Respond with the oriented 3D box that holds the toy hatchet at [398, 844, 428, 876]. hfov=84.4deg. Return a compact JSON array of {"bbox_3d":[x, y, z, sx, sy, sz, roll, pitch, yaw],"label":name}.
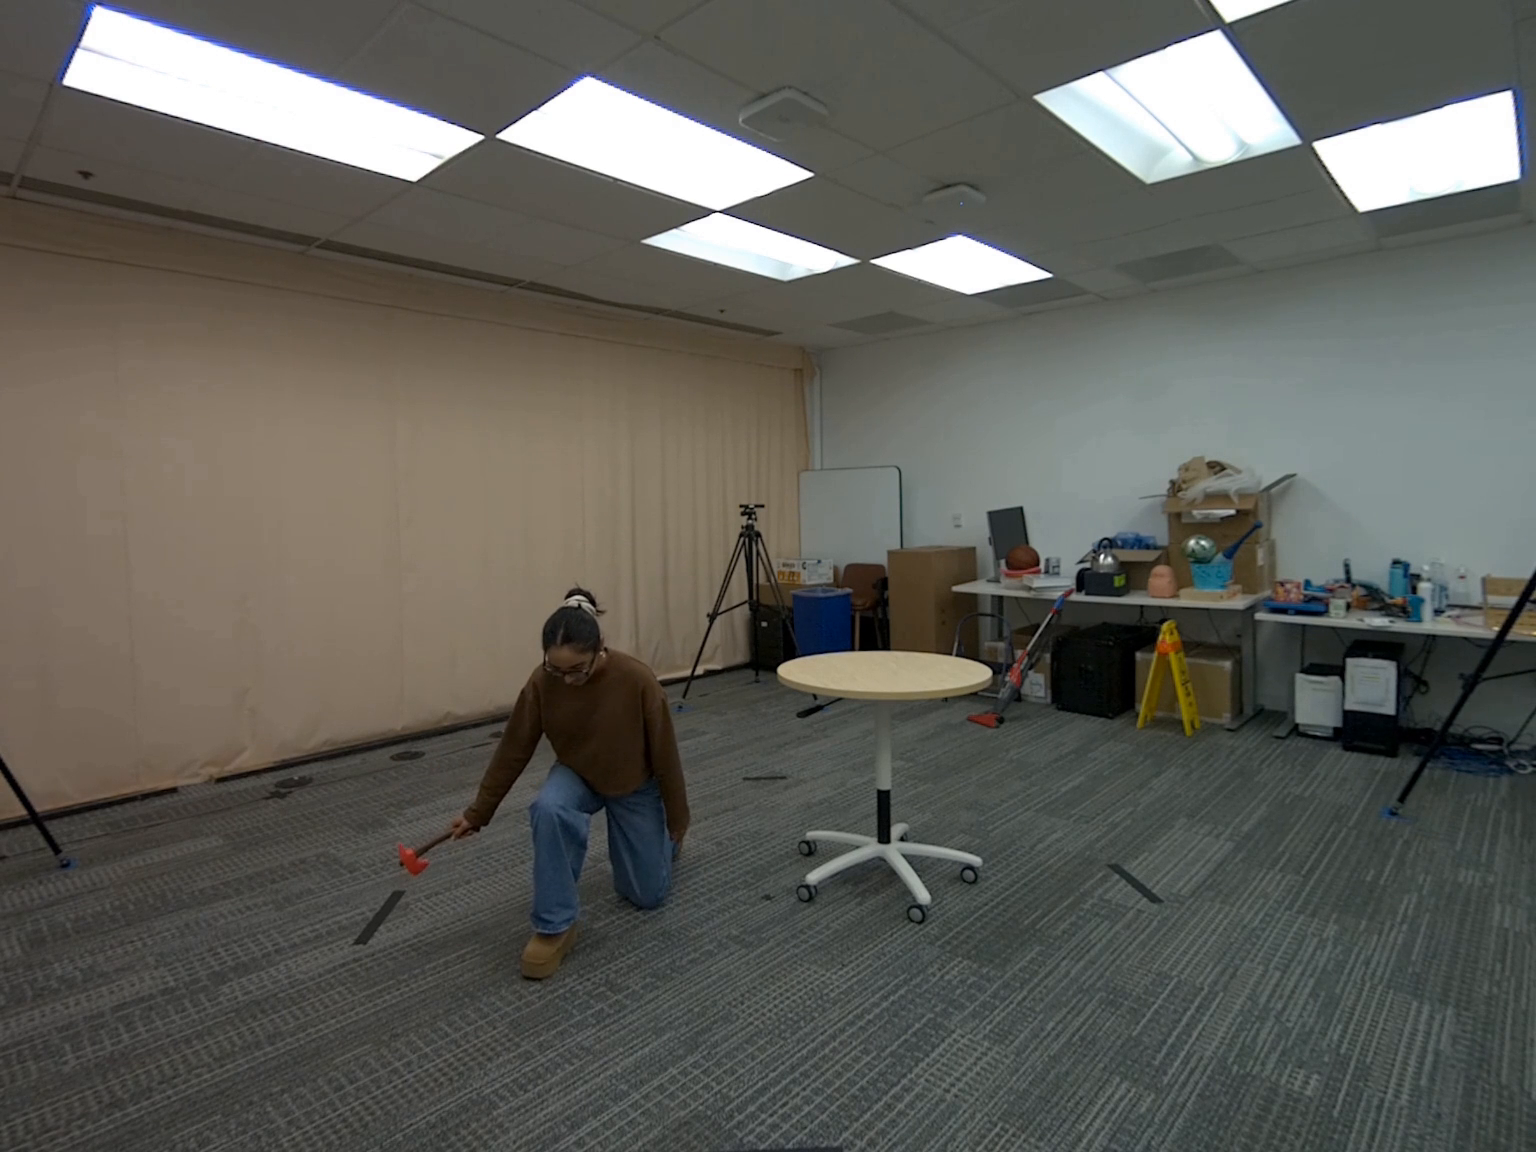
[{"bbox_3d":[-1.077,0.890,2.775,0.263,0.130,0.030,-5,7,-31],"label":"toy hatchet"}]
